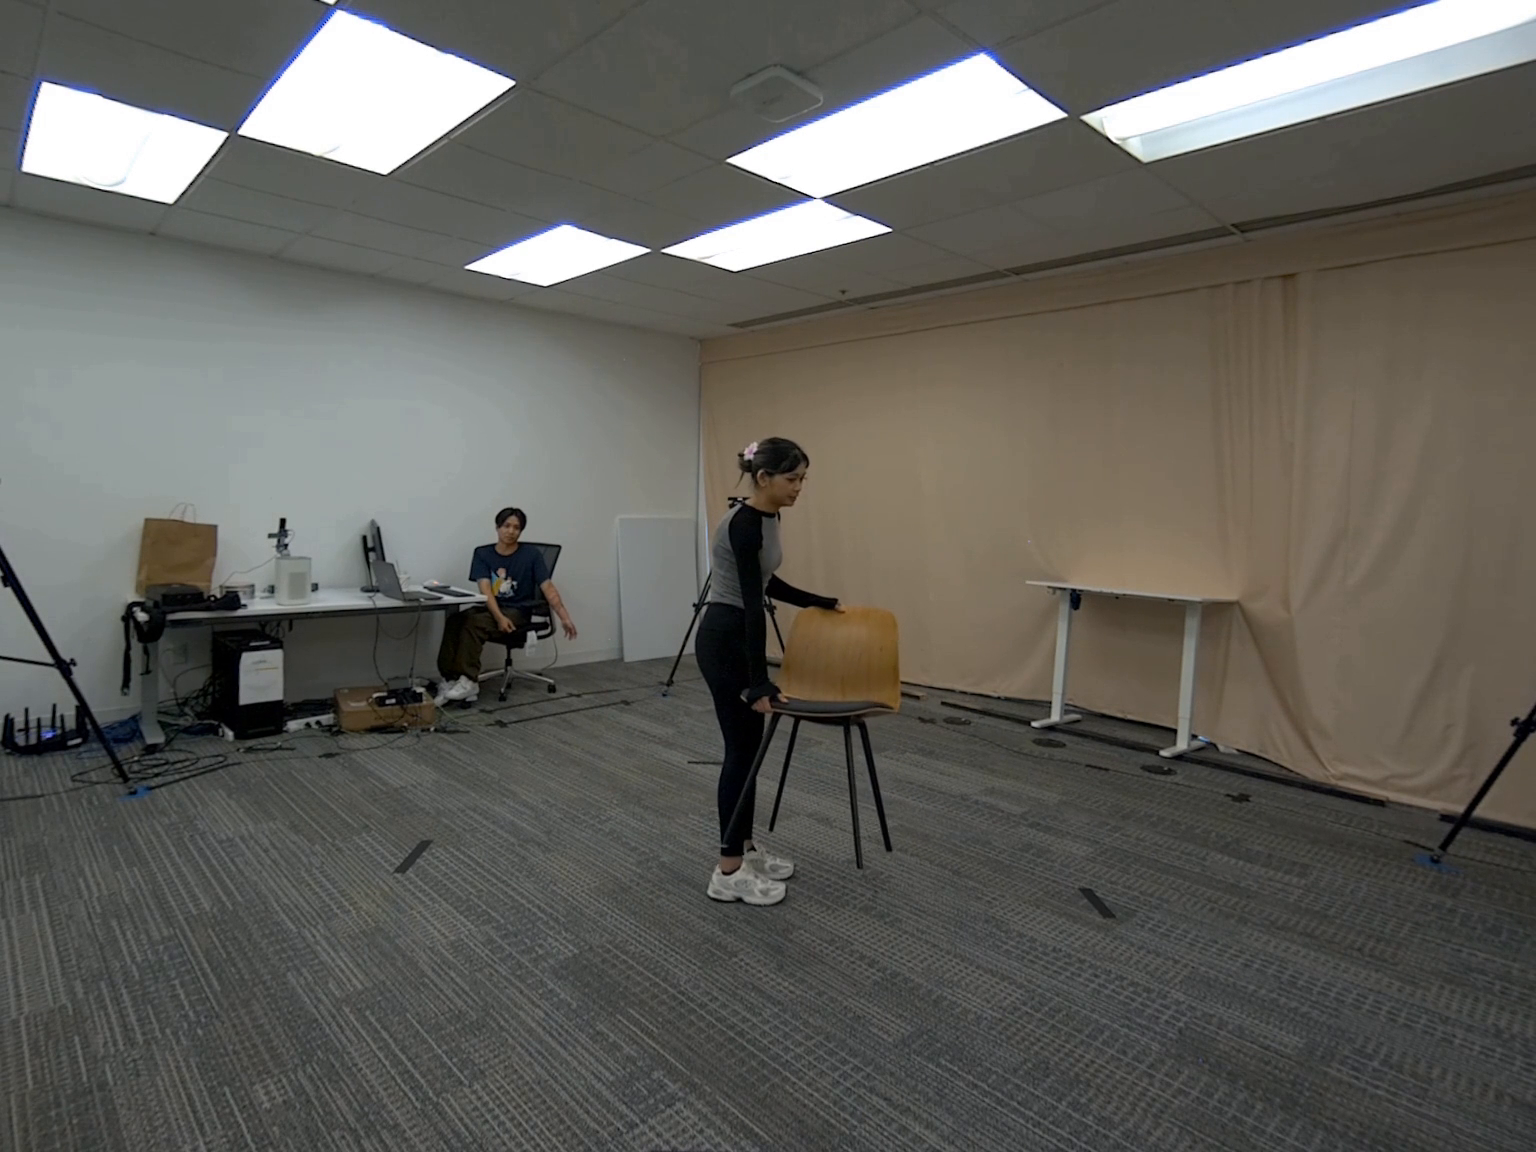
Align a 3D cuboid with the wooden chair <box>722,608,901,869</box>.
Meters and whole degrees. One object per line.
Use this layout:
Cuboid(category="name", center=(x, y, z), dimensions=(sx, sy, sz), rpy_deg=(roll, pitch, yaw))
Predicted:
Cuboid(category="wooden chair", center=(0.176, 0.486, 2.832), dimensions=(0.486, 0.885, 0.509), rpy_deg=(1, -15, 22))
